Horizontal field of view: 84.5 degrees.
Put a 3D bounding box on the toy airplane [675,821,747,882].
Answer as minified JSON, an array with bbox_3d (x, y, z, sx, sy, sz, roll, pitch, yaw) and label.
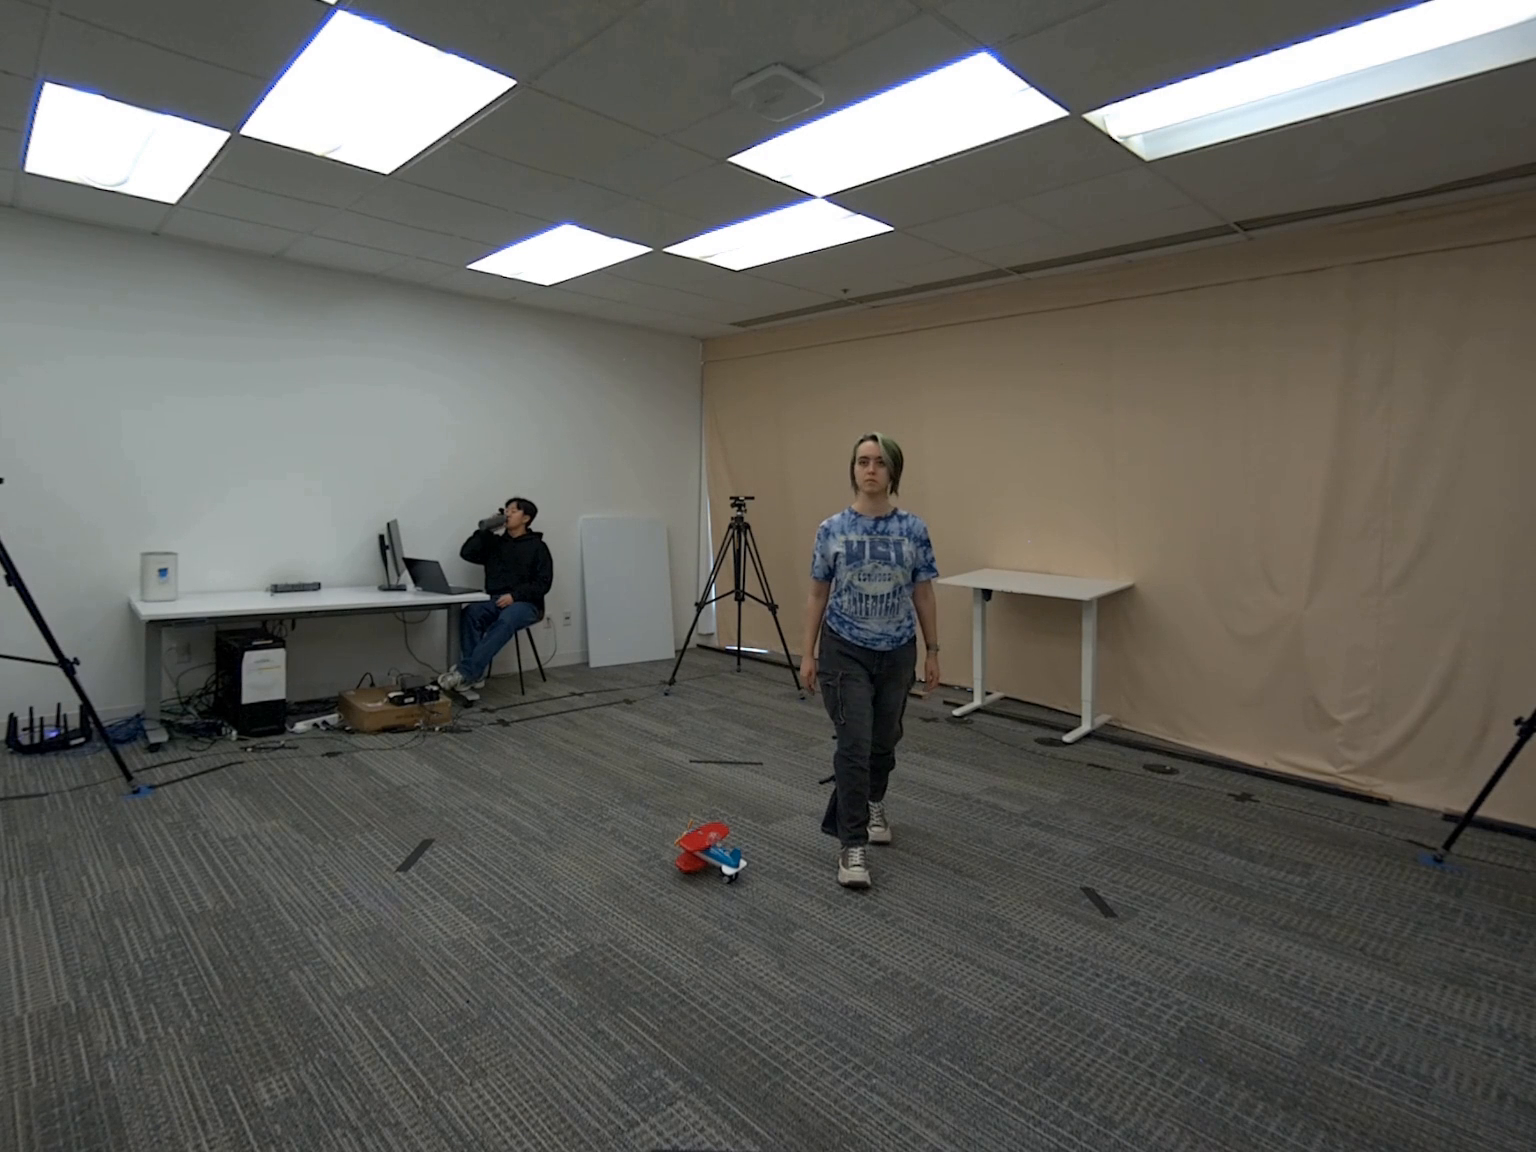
[{"bbox_3d":[-0.212,1.024,3.115,0.260,0.156,0.251,0,5,5],"label":"toy airplane"}]
